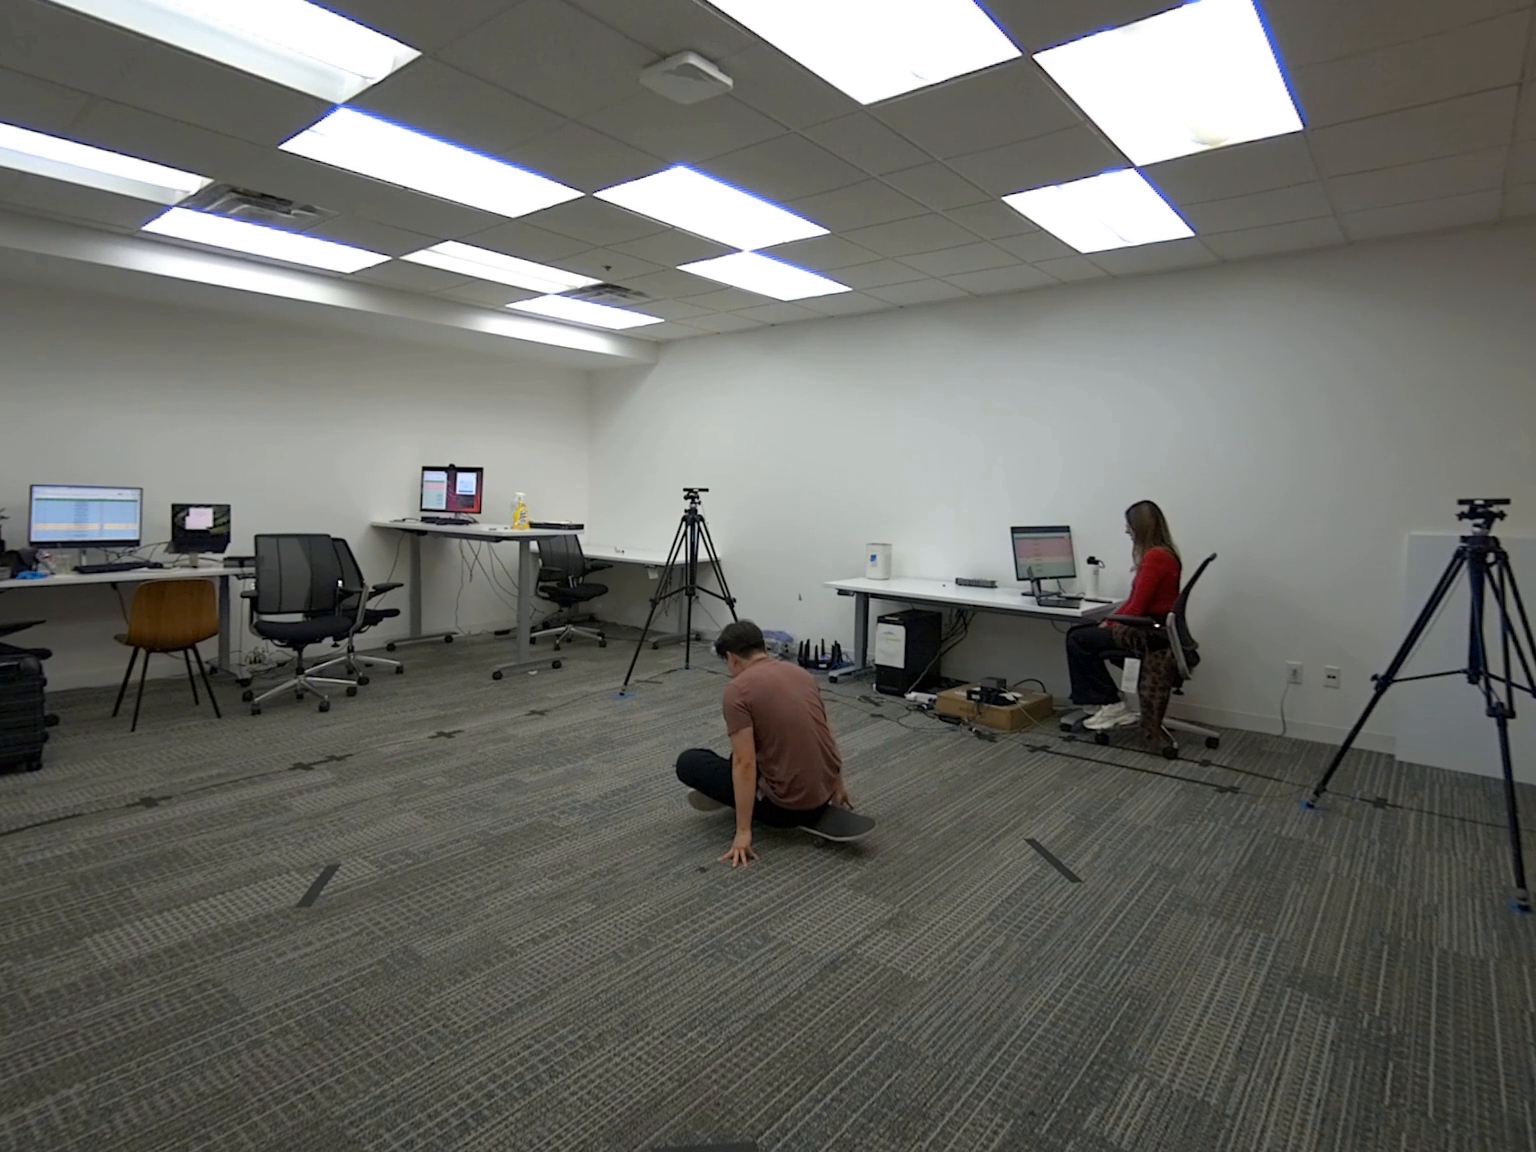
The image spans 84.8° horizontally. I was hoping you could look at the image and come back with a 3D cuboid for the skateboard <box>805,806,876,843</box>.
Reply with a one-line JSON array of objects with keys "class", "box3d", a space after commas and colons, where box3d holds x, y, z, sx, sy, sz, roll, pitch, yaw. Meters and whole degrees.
[{"class": "skateboard", "box3d": [0.107, 0.979, 3.528, 0.189, 0.109, 0.813, -20, 19, -40]}]
